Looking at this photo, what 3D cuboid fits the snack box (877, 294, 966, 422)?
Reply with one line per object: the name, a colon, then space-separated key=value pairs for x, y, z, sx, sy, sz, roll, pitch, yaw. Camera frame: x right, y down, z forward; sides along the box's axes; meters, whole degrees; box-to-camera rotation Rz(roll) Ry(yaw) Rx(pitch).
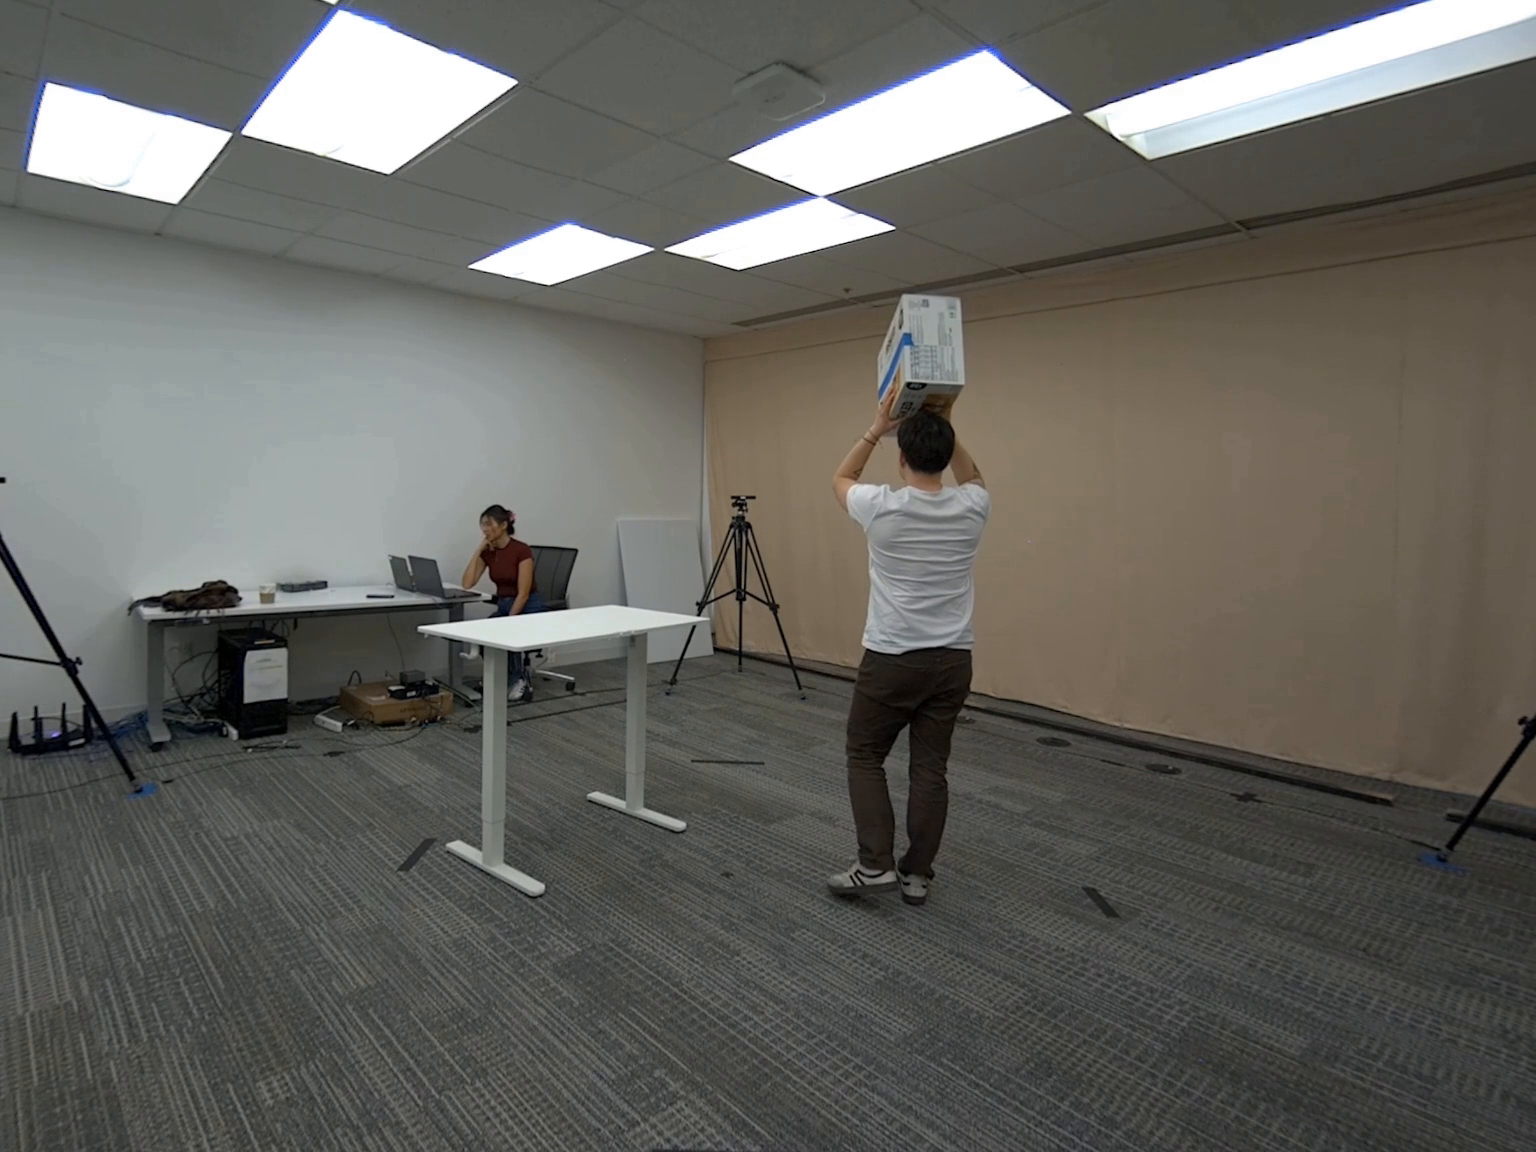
snack box: x=0.526 y=-0.735 z=3.003 sx=0.205 sy=0.345 sz=0.400 roll=2 pitch=-18 yaw=-3
